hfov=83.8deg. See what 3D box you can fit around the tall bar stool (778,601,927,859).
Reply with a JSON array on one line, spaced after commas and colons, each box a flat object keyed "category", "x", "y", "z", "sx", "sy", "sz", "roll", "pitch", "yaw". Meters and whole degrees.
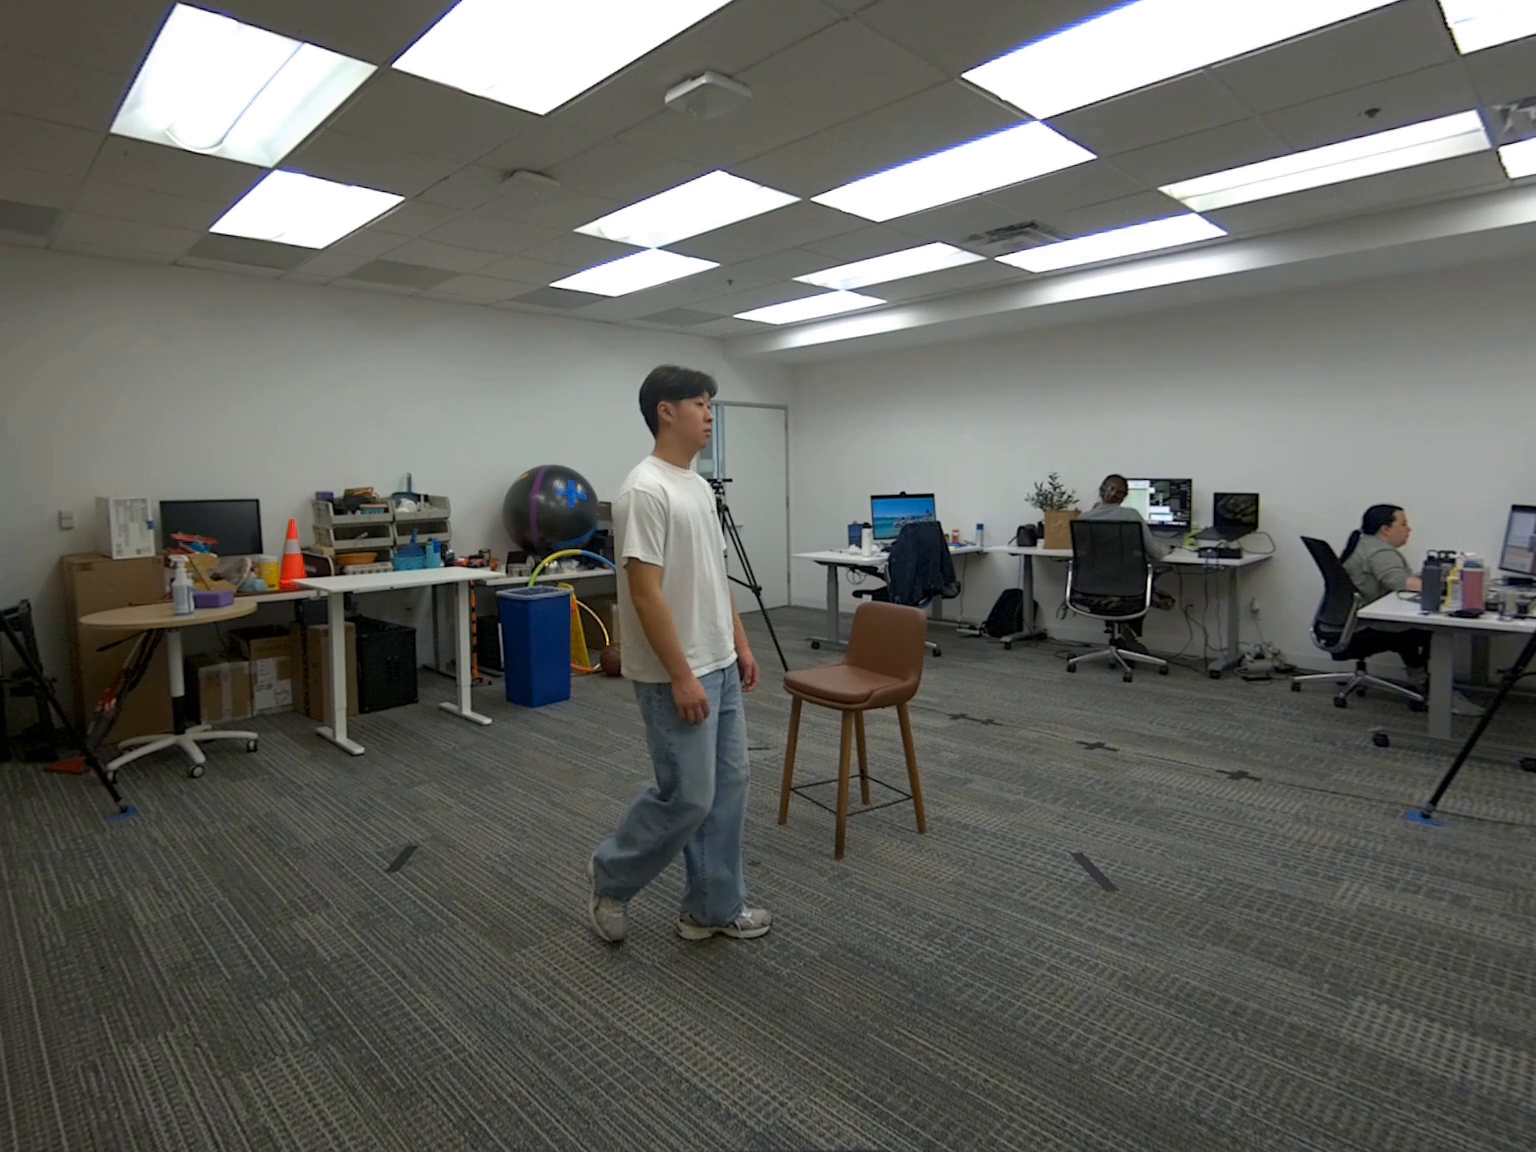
[{"category": "tall bar stool", "x": 0.337, "y": 0.570, "z": 3.388, "sx": 0.456, "sy": 0.887, "sz": 0.469, "roll": -1, "pitch": 4, "yaw": -32}]
